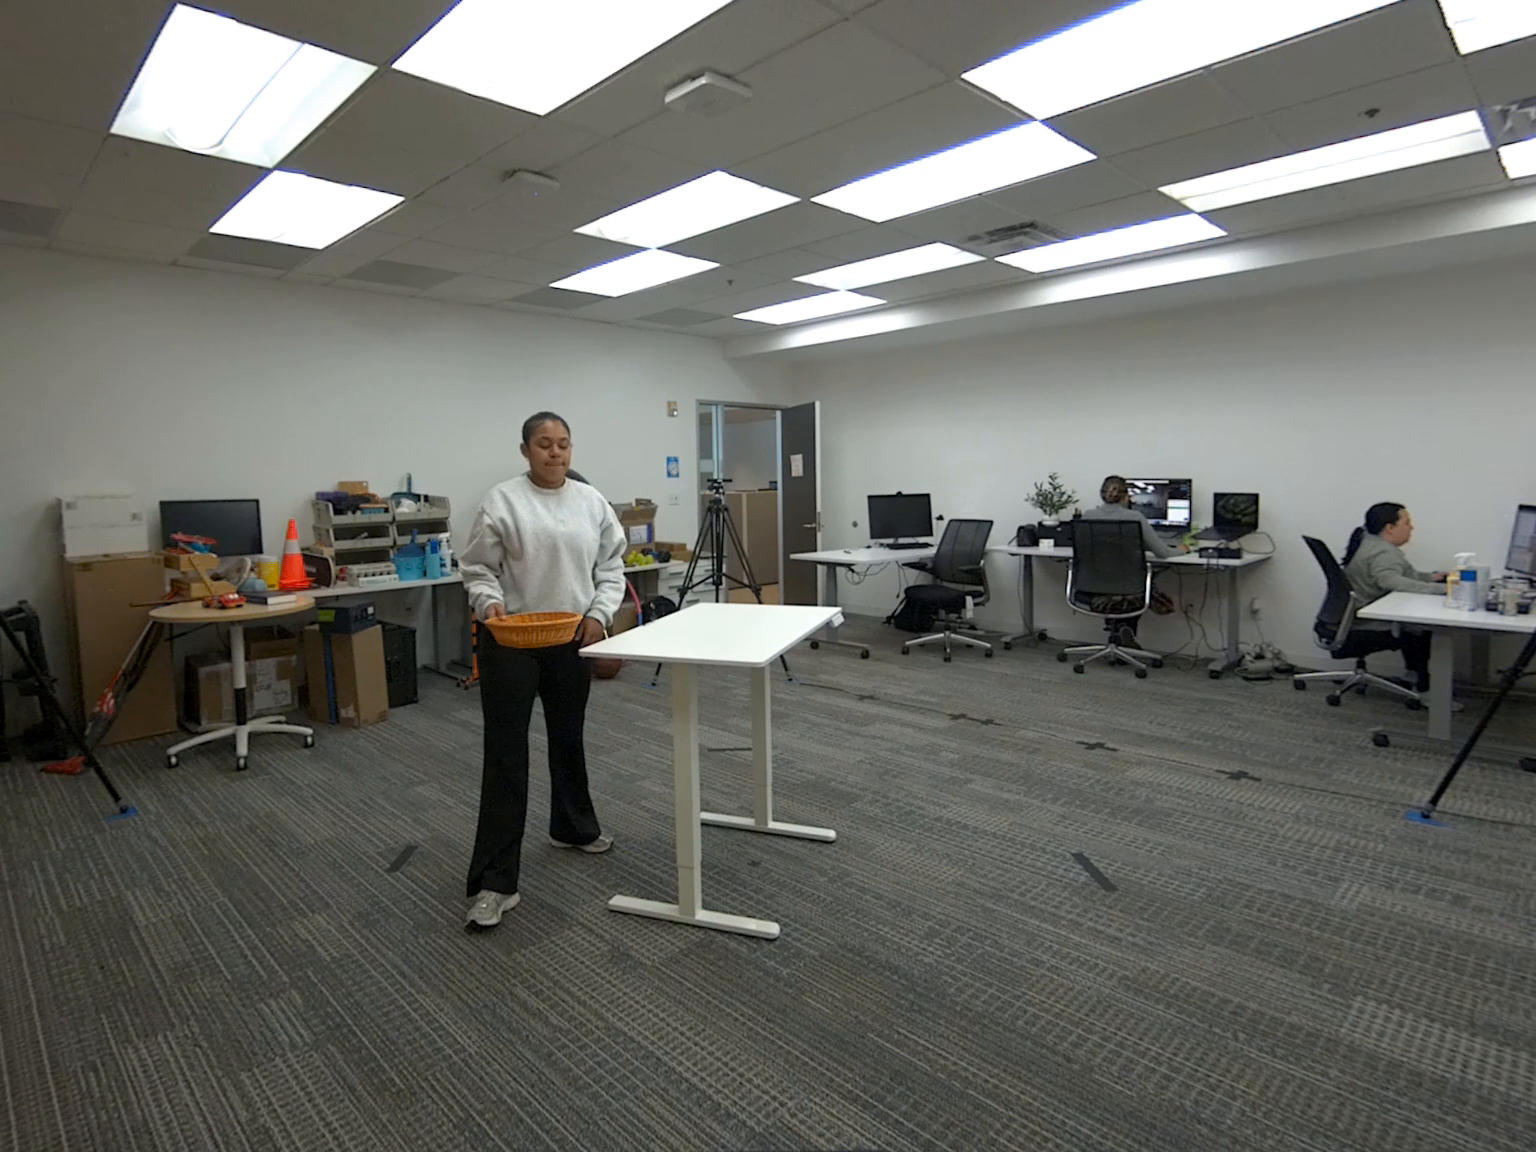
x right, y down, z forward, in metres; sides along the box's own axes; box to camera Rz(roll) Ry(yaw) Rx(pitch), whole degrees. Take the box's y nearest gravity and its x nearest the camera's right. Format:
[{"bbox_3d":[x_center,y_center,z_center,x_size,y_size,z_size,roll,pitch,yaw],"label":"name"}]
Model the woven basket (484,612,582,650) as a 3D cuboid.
[{"bbox_3d":[-0.714,0.156,2.527,0.247,0.073,0.359,-6,5,-28],"label":"woven basket"}]
